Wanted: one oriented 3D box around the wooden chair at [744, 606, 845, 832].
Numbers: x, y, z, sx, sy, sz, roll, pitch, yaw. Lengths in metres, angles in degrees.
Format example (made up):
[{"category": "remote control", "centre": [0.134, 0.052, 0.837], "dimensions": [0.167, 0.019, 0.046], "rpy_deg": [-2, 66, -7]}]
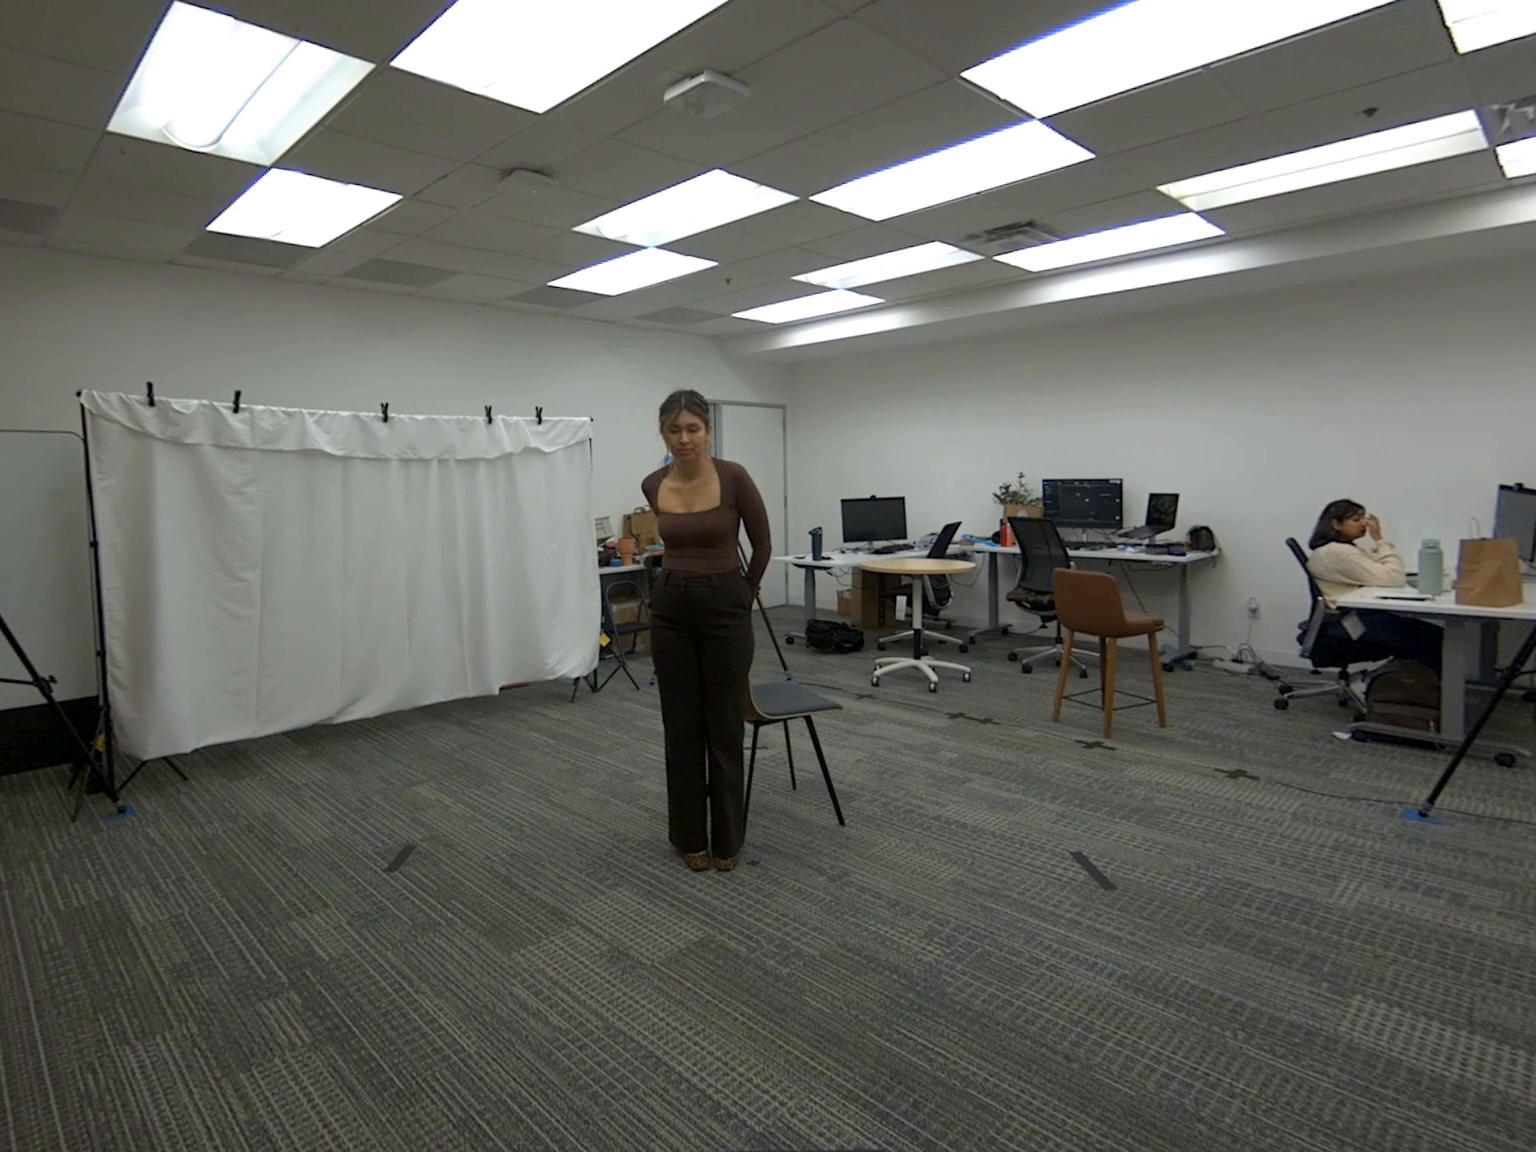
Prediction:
[{"category": "wooden chair", "centre": [0.005, 0.567, 3.525], "dimensions": [0.514, 0.873, 0.489], "rpy_deg": [-7, 5, -22]}]
